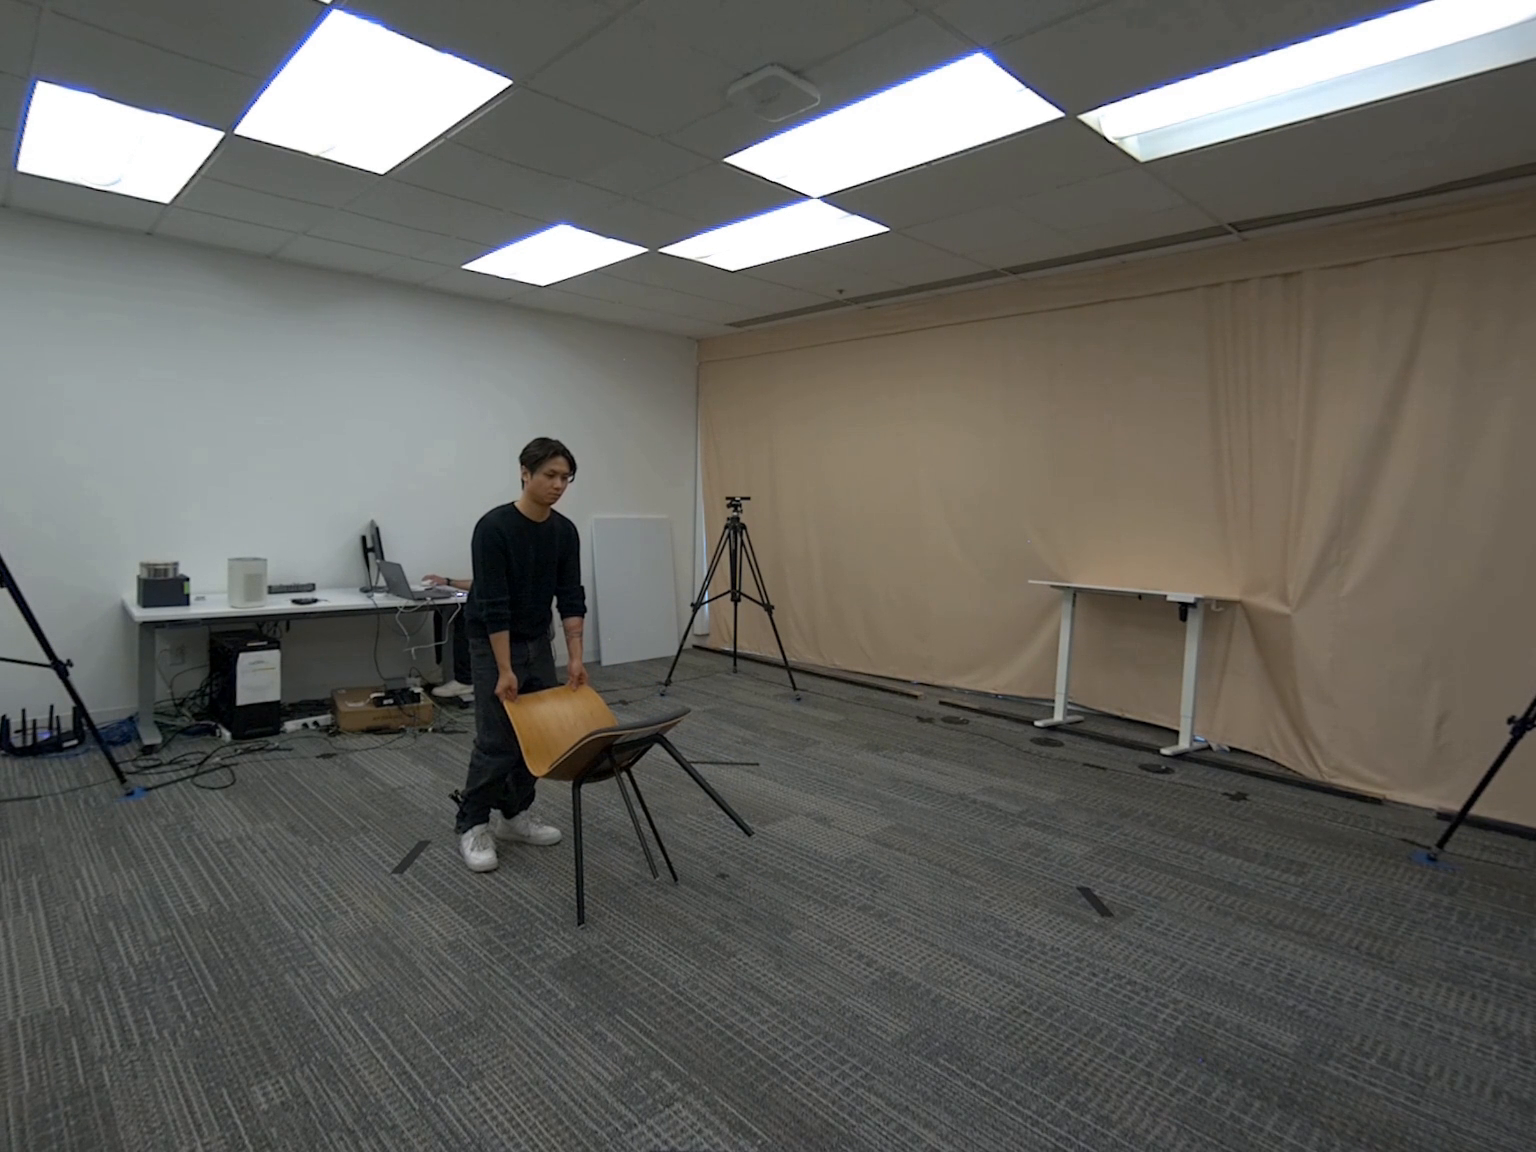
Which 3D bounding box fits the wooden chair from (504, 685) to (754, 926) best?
[{"bbox_3d":[-0.514,0.637,2.890,0.467,0.898,0.523,-3,-36,-49],"label":"wooden chair"}]
